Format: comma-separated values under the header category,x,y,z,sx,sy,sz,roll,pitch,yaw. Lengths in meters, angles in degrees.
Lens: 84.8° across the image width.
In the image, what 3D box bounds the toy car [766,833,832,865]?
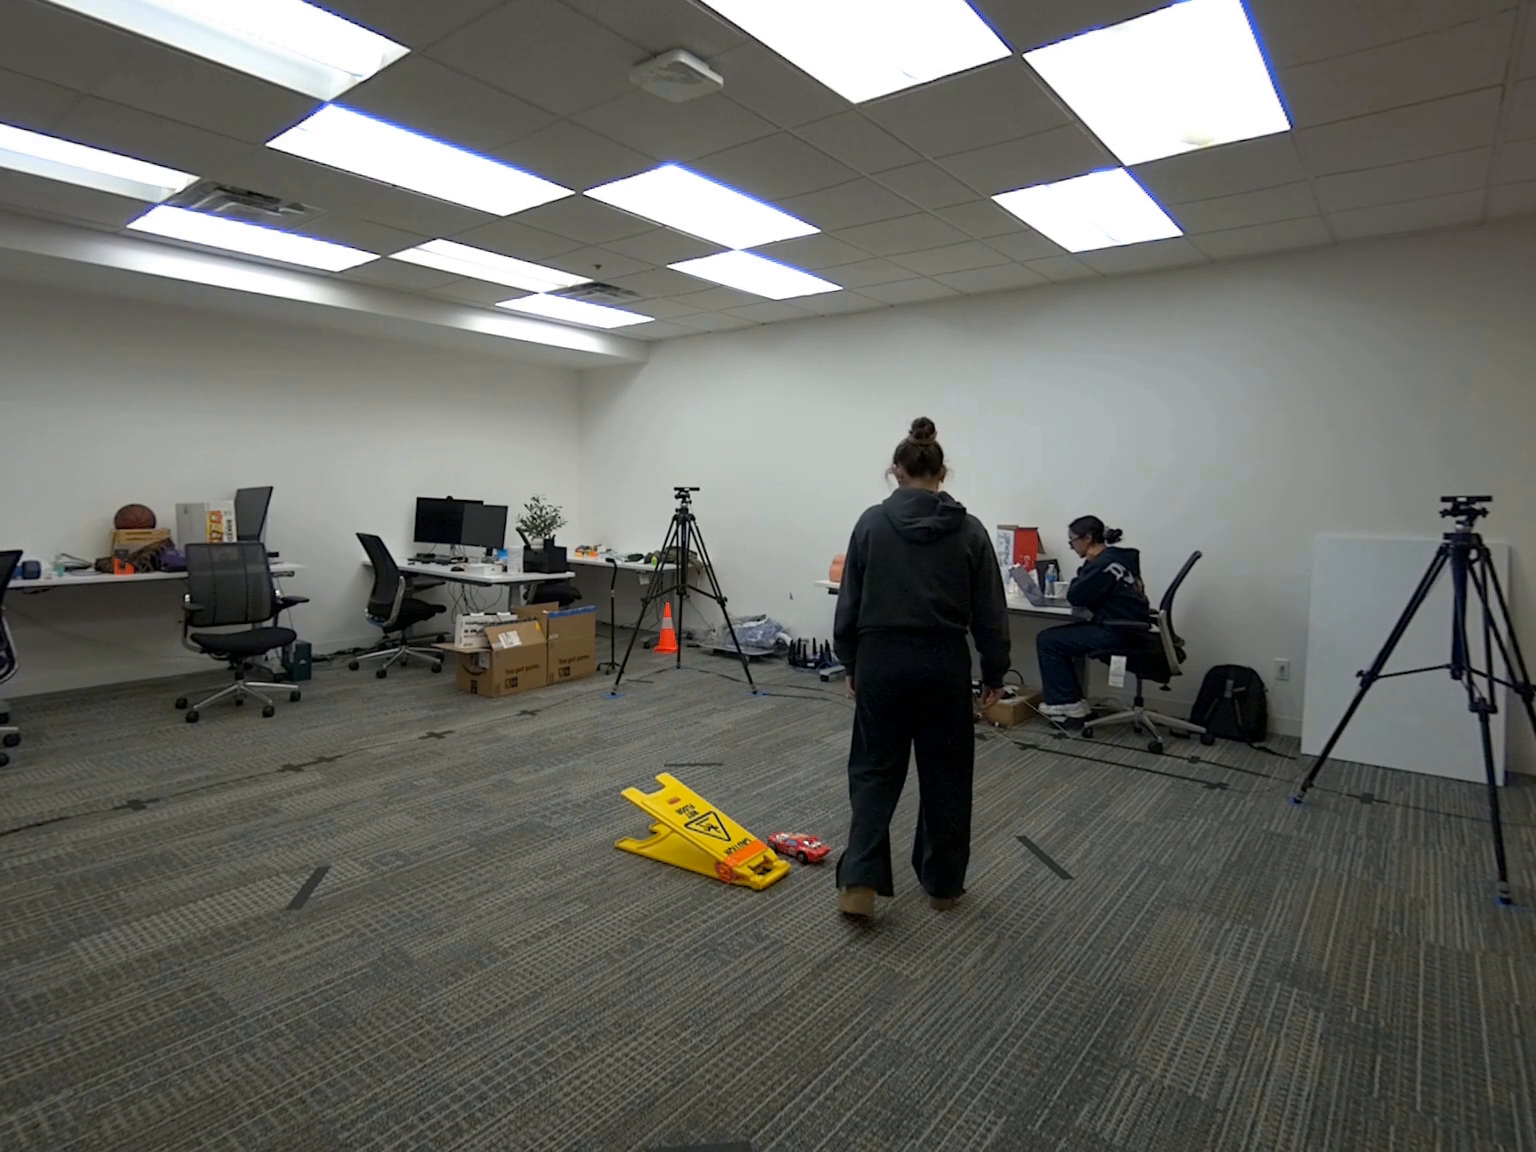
category,x,y,z,sx,sy,sz,roll,pitch,yaw
toy car,0.124,1.027,3.237,0.261,0.083,0.126,-9,-3,42
